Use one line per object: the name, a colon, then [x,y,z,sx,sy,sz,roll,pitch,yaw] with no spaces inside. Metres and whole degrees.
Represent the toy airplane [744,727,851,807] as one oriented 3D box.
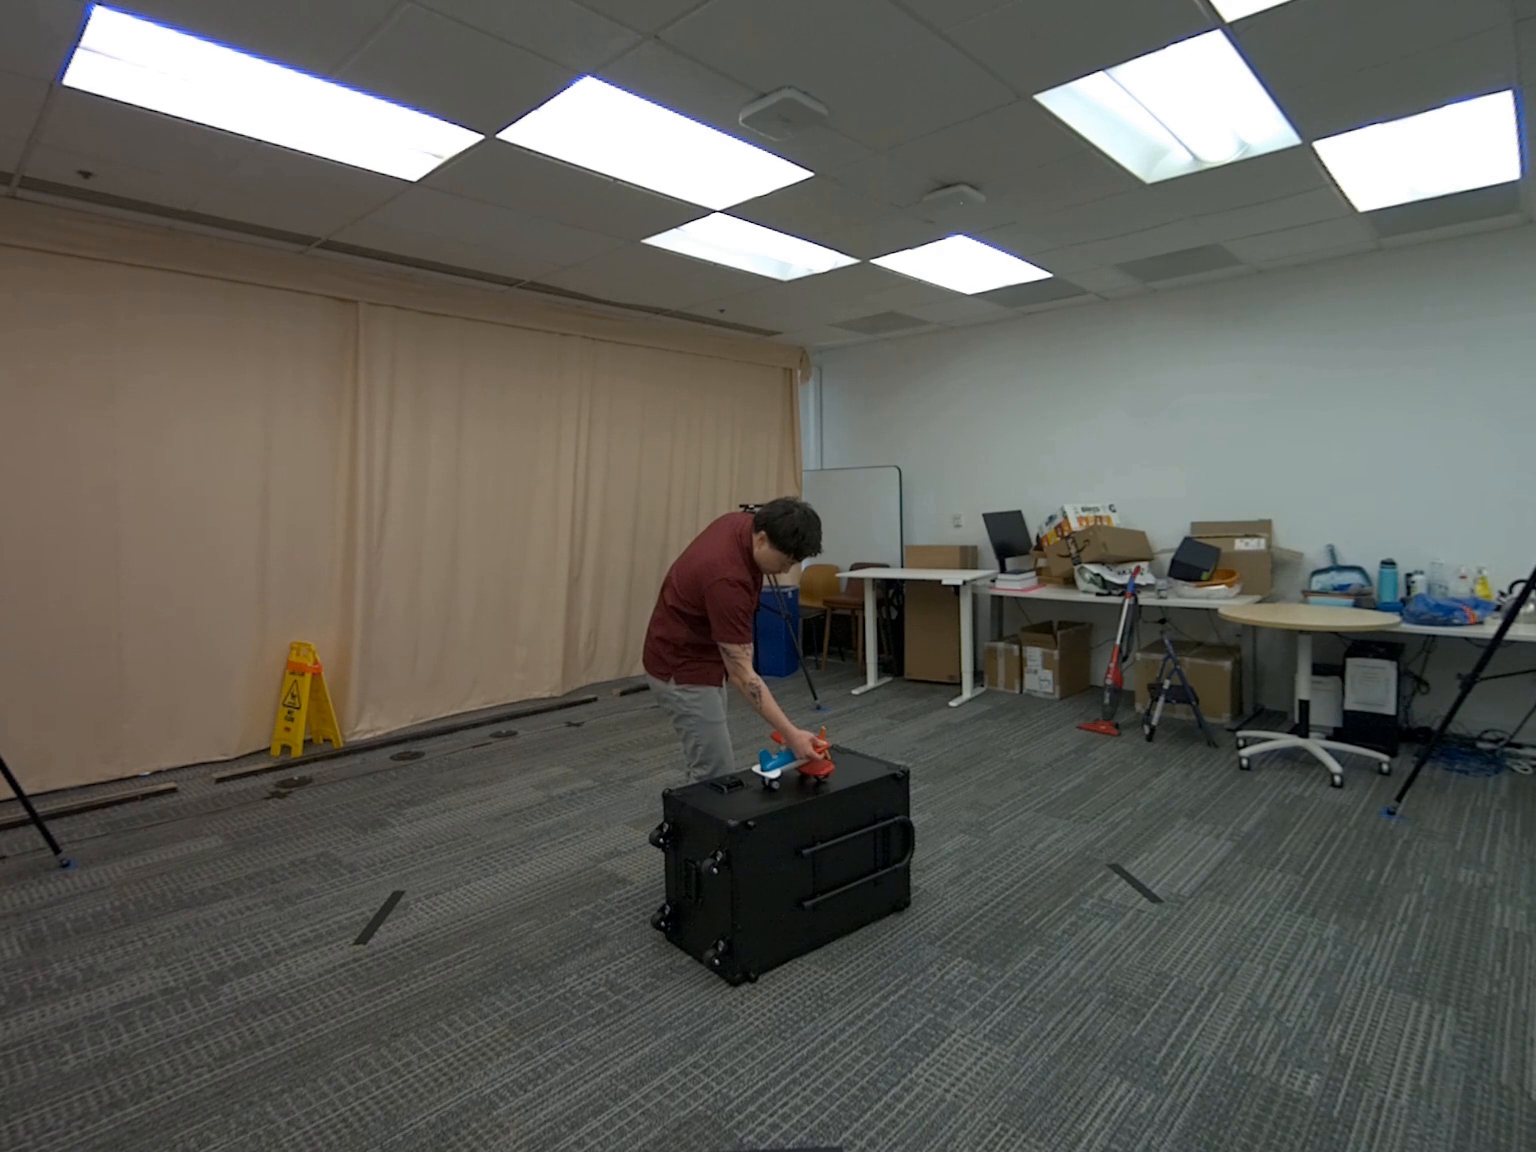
toy airplane: [0.097,0.601,2.729,0.258,0.156,0.252,2,4,29]
